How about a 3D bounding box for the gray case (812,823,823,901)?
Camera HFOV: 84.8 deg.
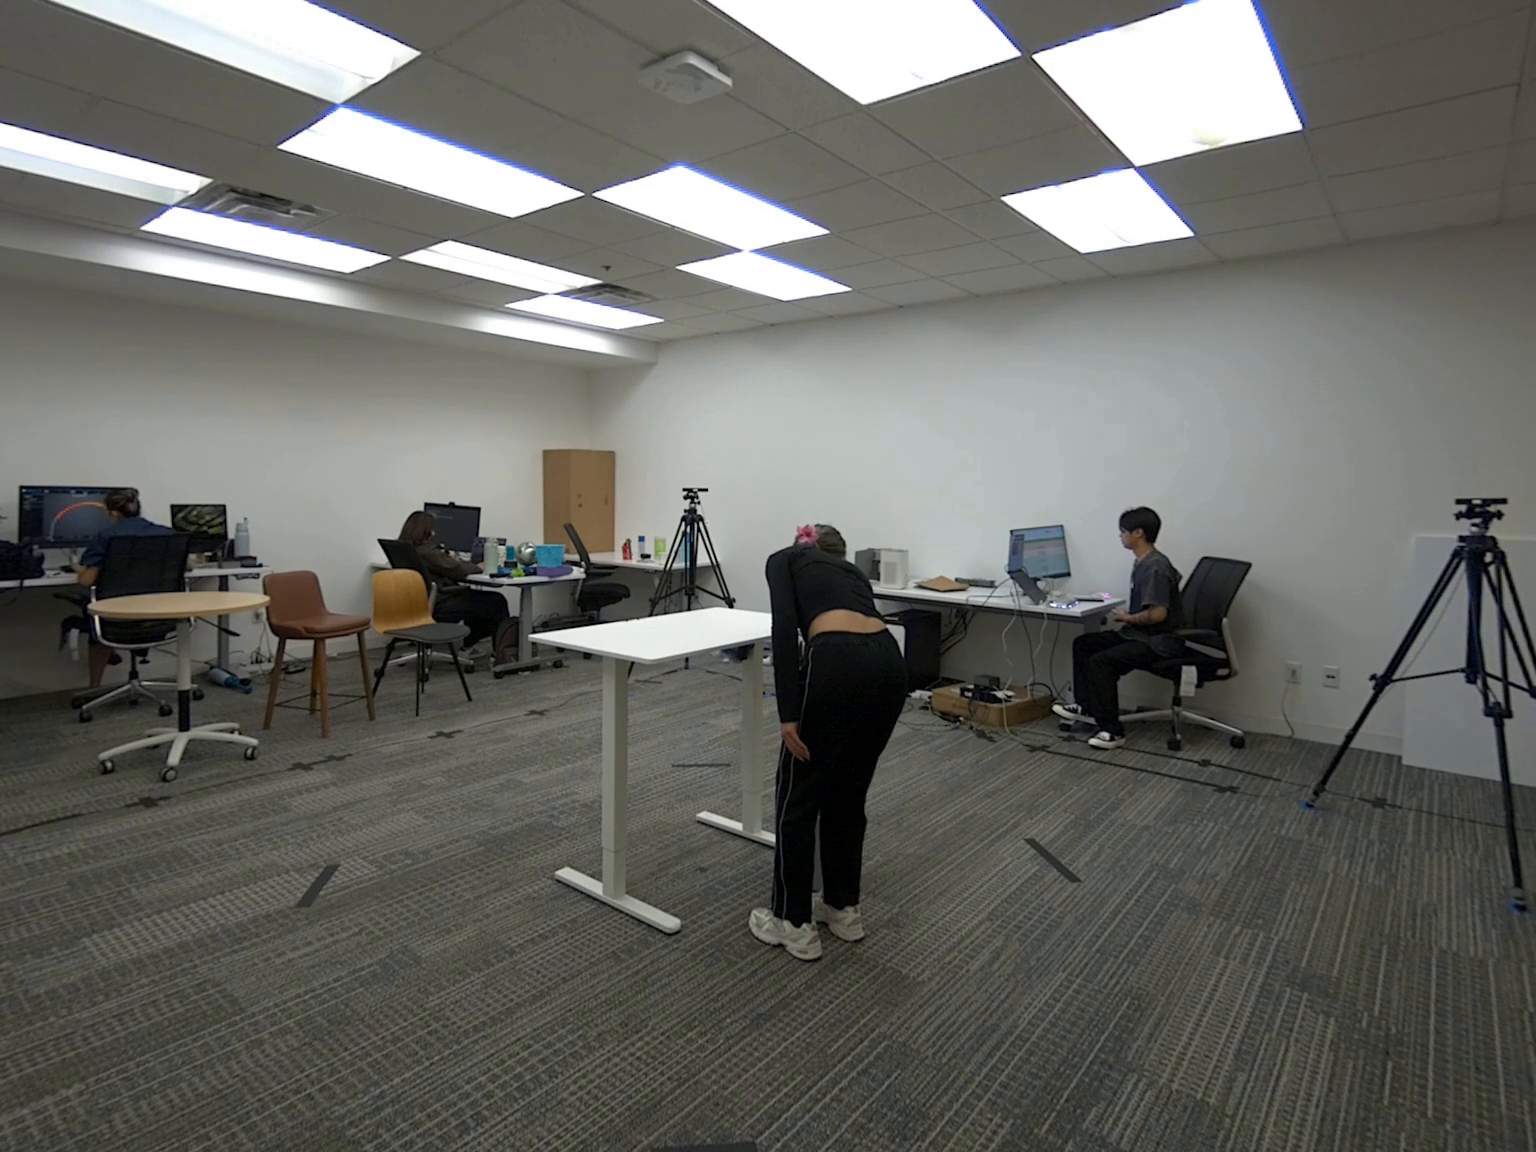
[{"bbox_3d":[0.156,0.948,3.013,0.100,0.261,0.266,12,-5,-43],"label":"gray case"}]
